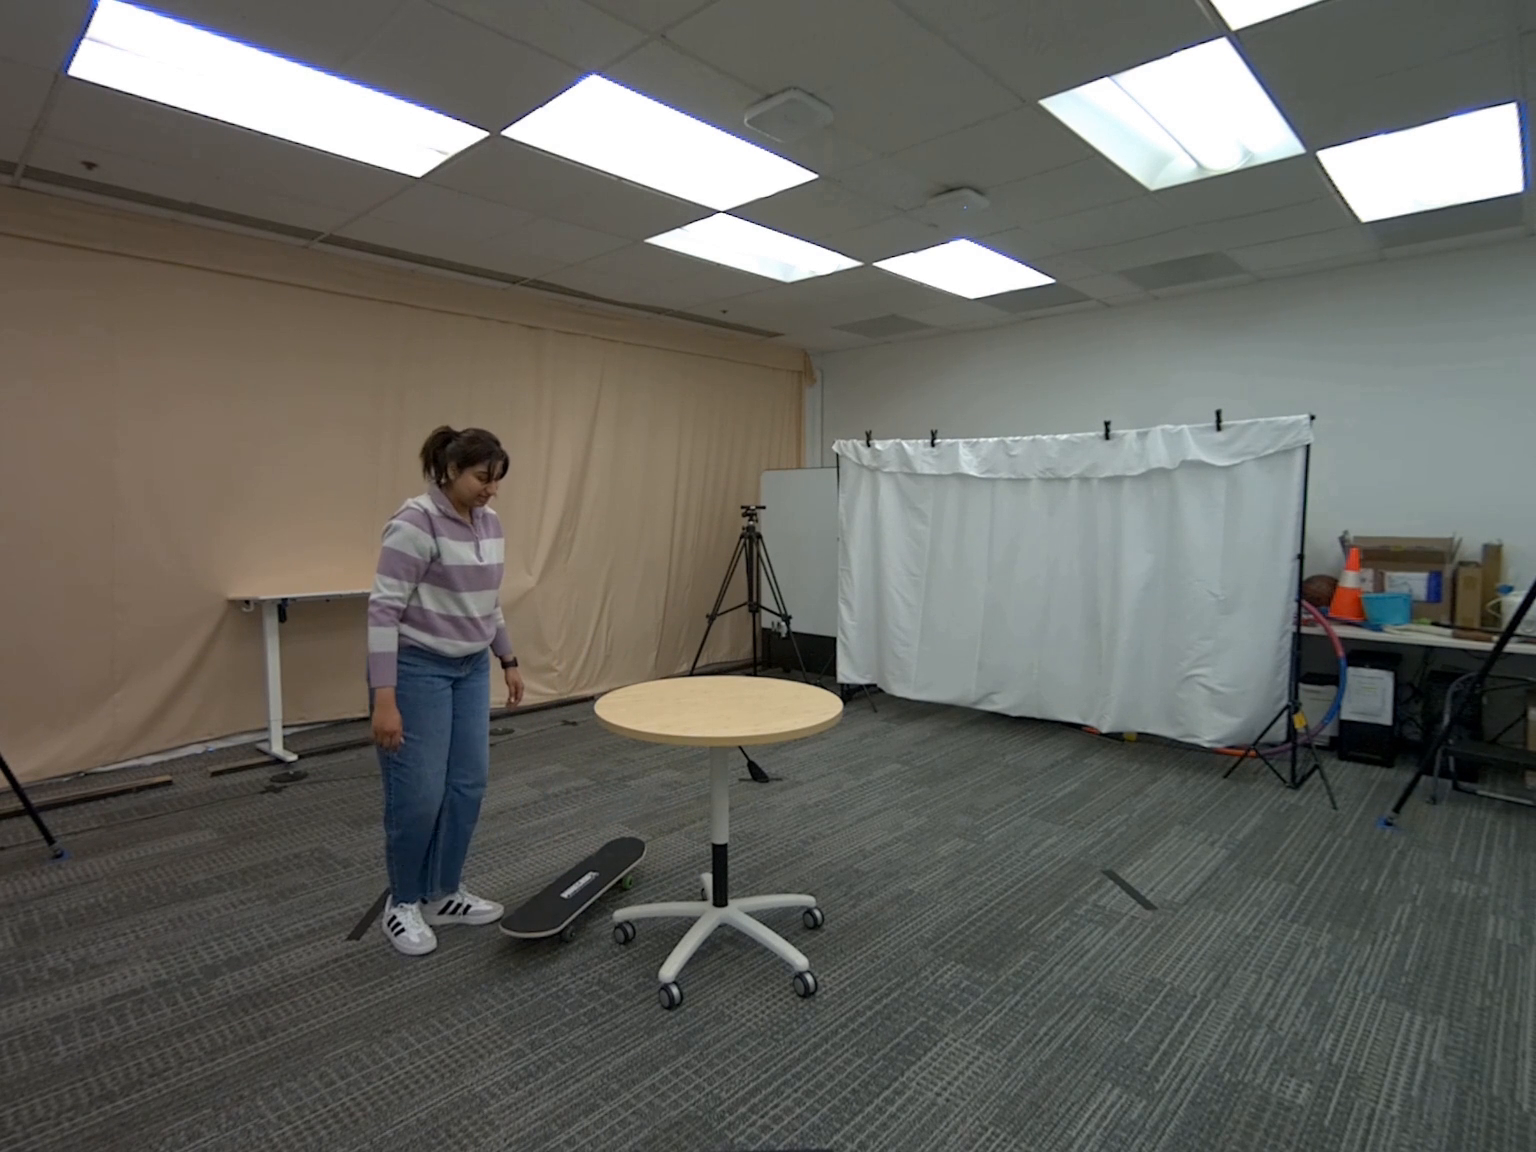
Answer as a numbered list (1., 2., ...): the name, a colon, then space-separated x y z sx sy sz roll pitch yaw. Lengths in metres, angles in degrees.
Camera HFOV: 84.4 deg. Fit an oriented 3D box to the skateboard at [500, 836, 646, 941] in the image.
1. skateboard: -0.650 1.096 2.911 0.198 0.110 0.770 2 5 19
